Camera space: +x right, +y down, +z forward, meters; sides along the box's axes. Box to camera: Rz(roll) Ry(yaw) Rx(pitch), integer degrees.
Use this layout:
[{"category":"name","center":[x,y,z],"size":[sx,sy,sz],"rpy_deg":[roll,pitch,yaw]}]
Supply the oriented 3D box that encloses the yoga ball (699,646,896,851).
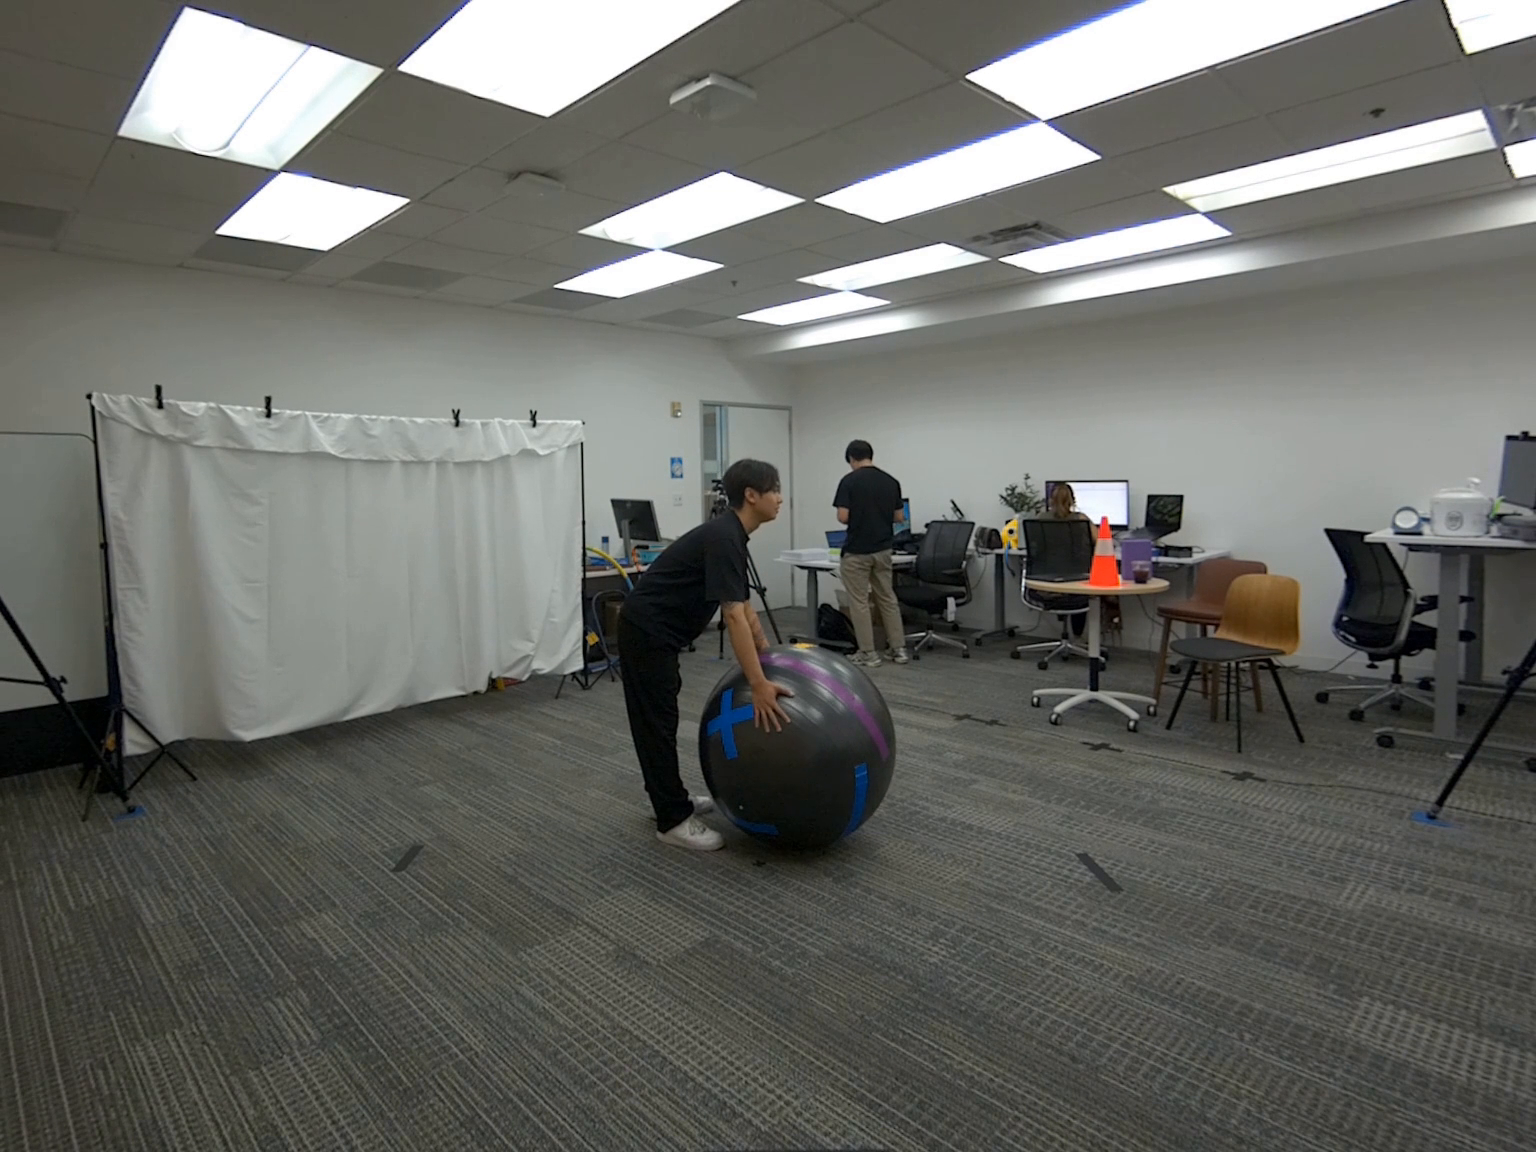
[{"category":"yoga ball","center":[0.107,0.649,3.295],"size":[0.757,0.755,0.762],"rpy_deg":[-1,5,-2]}]
